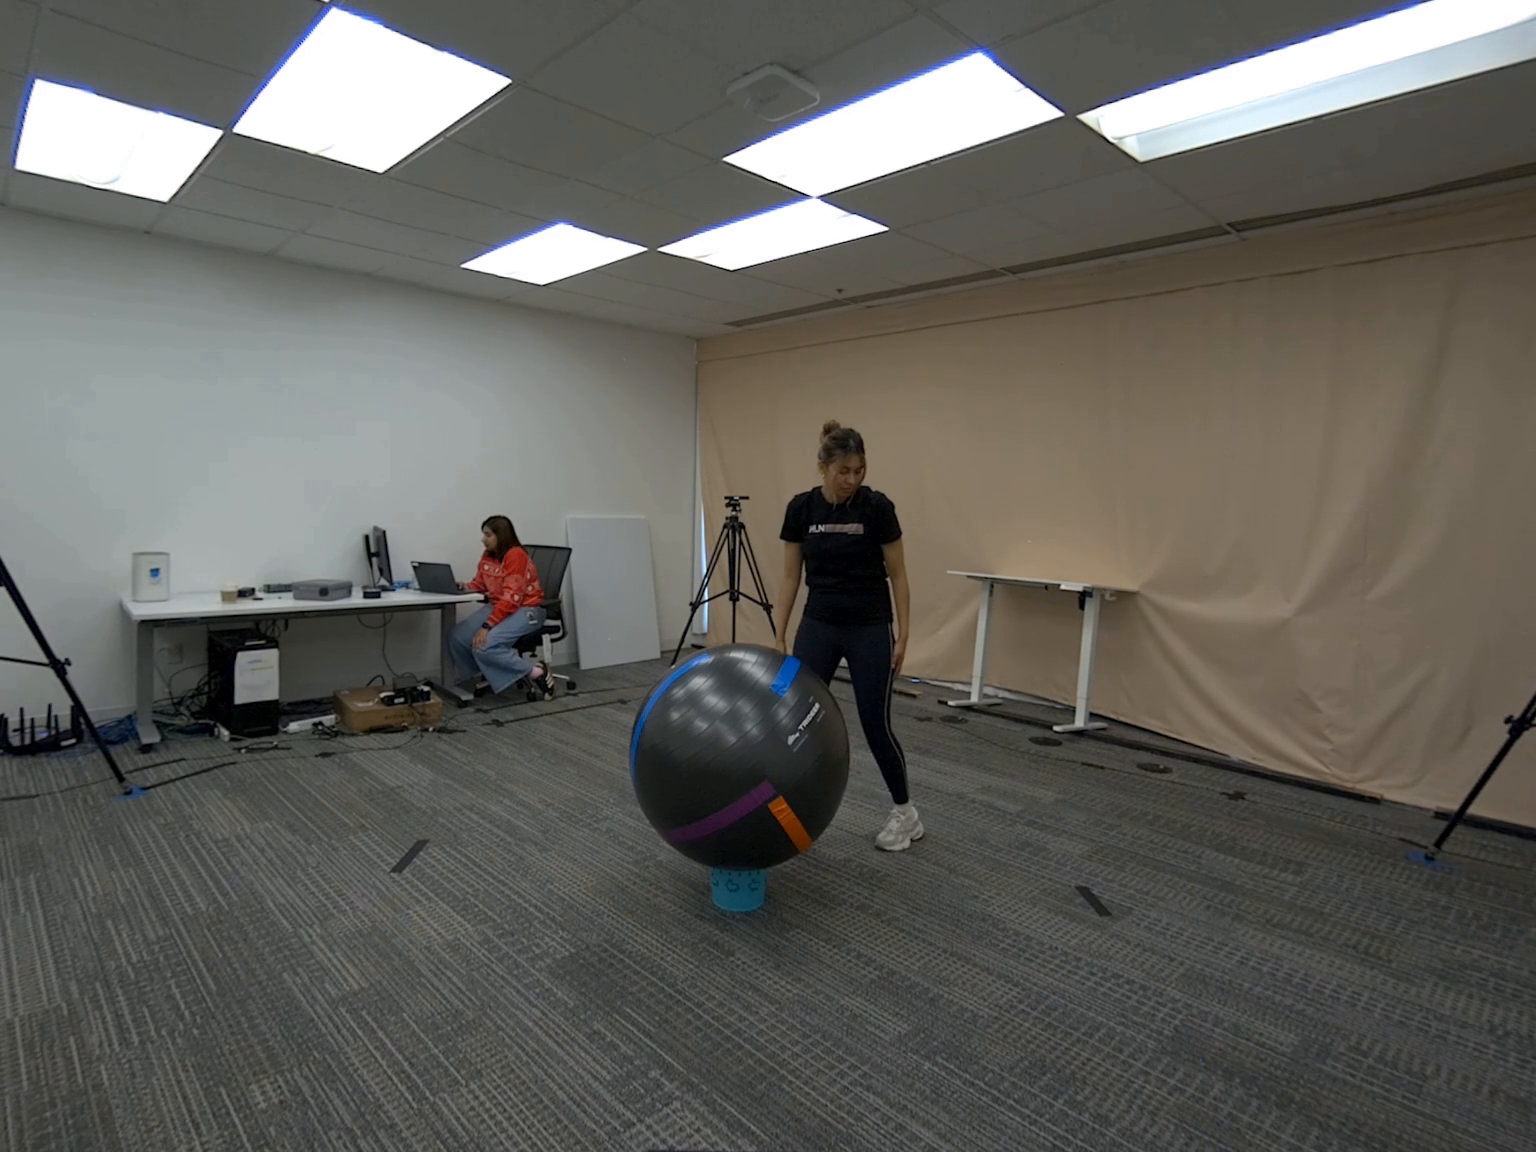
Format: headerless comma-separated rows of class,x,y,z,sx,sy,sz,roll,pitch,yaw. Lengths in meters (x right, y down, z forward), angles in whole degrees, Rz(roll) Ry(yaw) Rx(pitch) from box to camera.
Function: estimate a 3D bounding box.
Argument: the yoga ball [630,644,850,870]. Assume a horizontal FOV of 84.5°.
yoga ball,-0.104,0.616,2.886,0.757,0.756,0.761,1,4,-1
